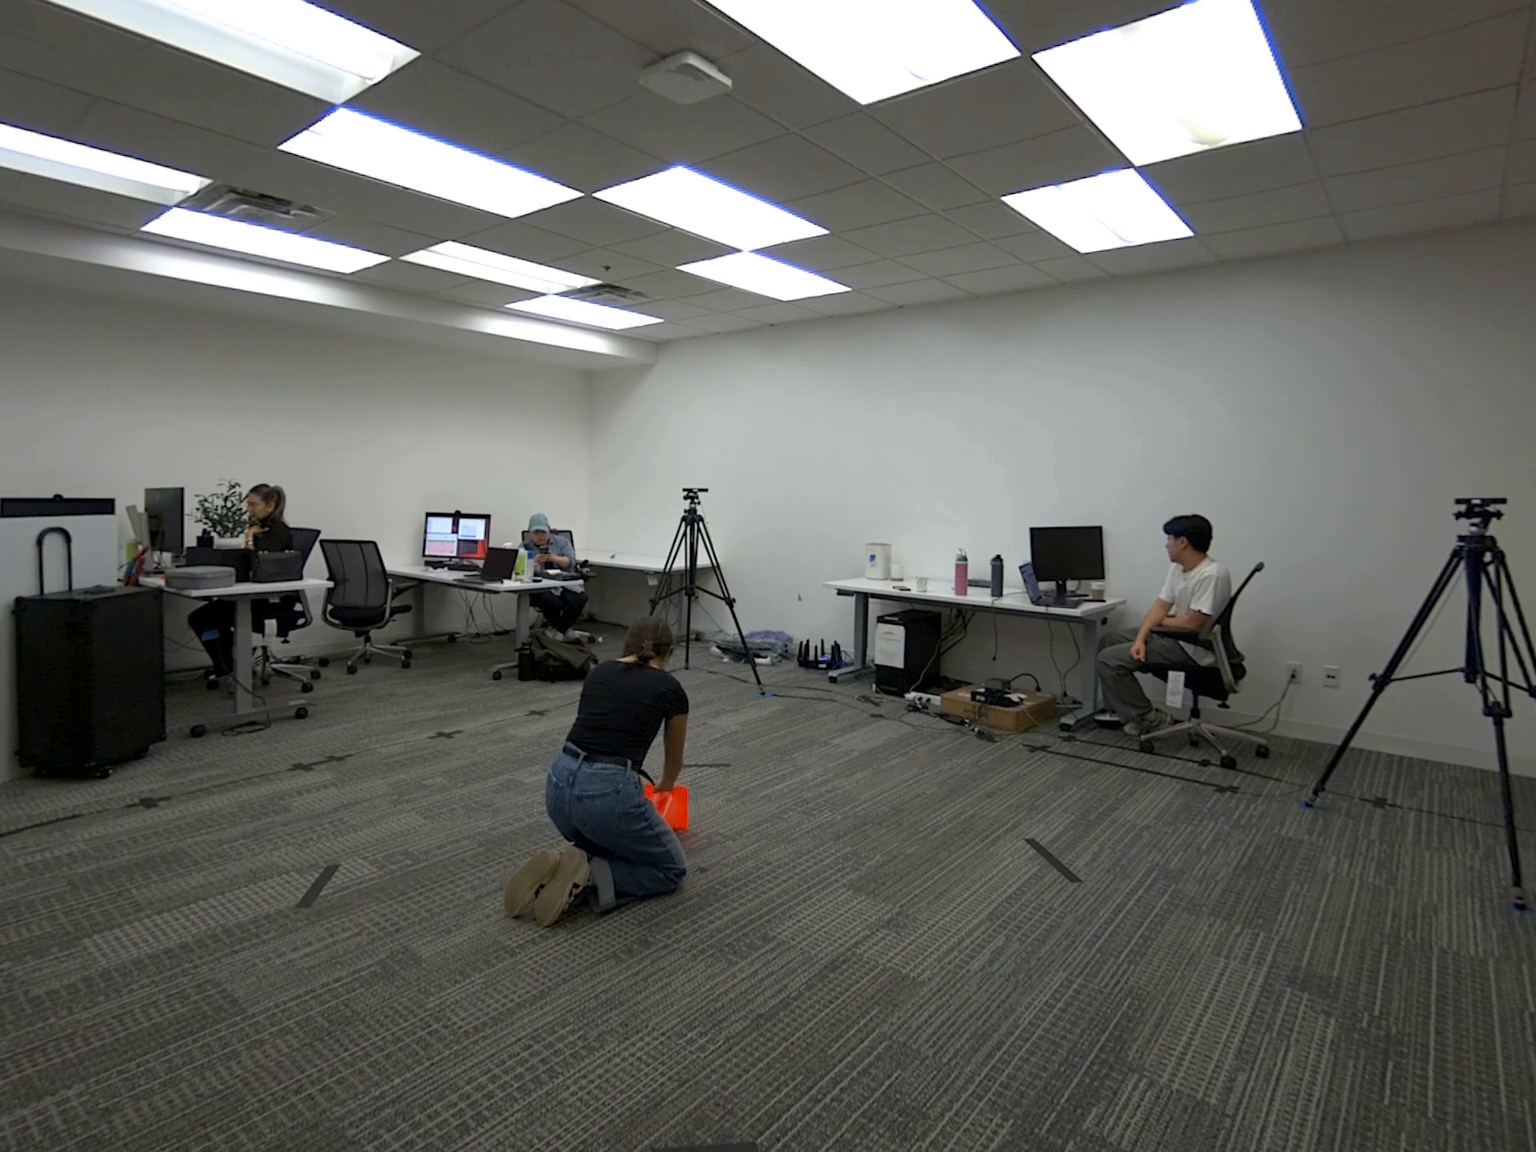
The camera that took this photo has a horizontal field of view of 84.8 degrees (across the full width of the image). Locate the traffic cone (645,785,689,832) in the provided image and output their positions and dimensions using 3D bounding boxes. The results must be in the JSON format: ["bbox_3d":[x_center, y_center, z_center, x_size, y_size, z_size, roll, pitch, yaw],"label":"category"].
[{"bbox_3d":[-0.430,0.991,3.289,0.205,0.201,0.388,-6,19,7],"label":"traffic cone"}]
